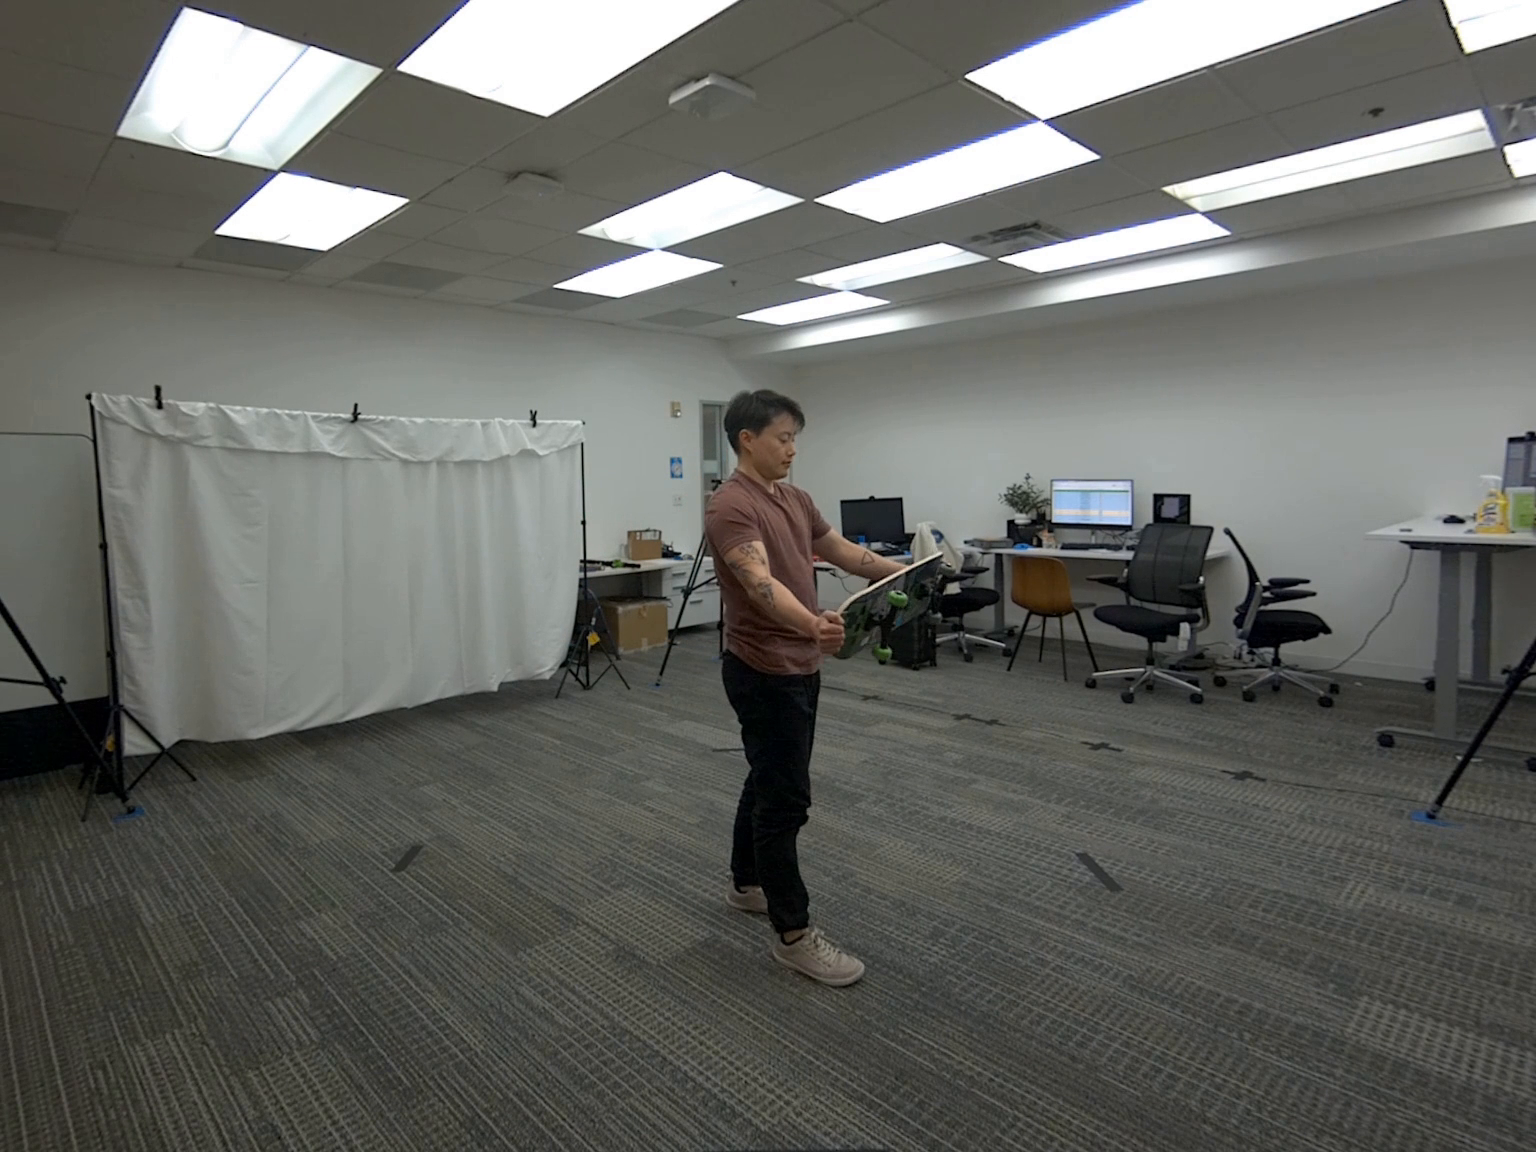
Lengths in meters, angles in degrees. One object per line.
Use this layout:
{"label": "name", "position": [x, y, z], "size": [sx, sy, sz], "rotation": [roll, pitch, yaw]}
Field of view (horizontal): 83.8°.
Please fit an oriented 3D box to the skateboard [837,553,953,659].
{"label": "skateboard", "position": [0.382, 0.077, 2.393], "size": [0.114, 0.191, 0.771], "rotation": [20, 21, 28]}
